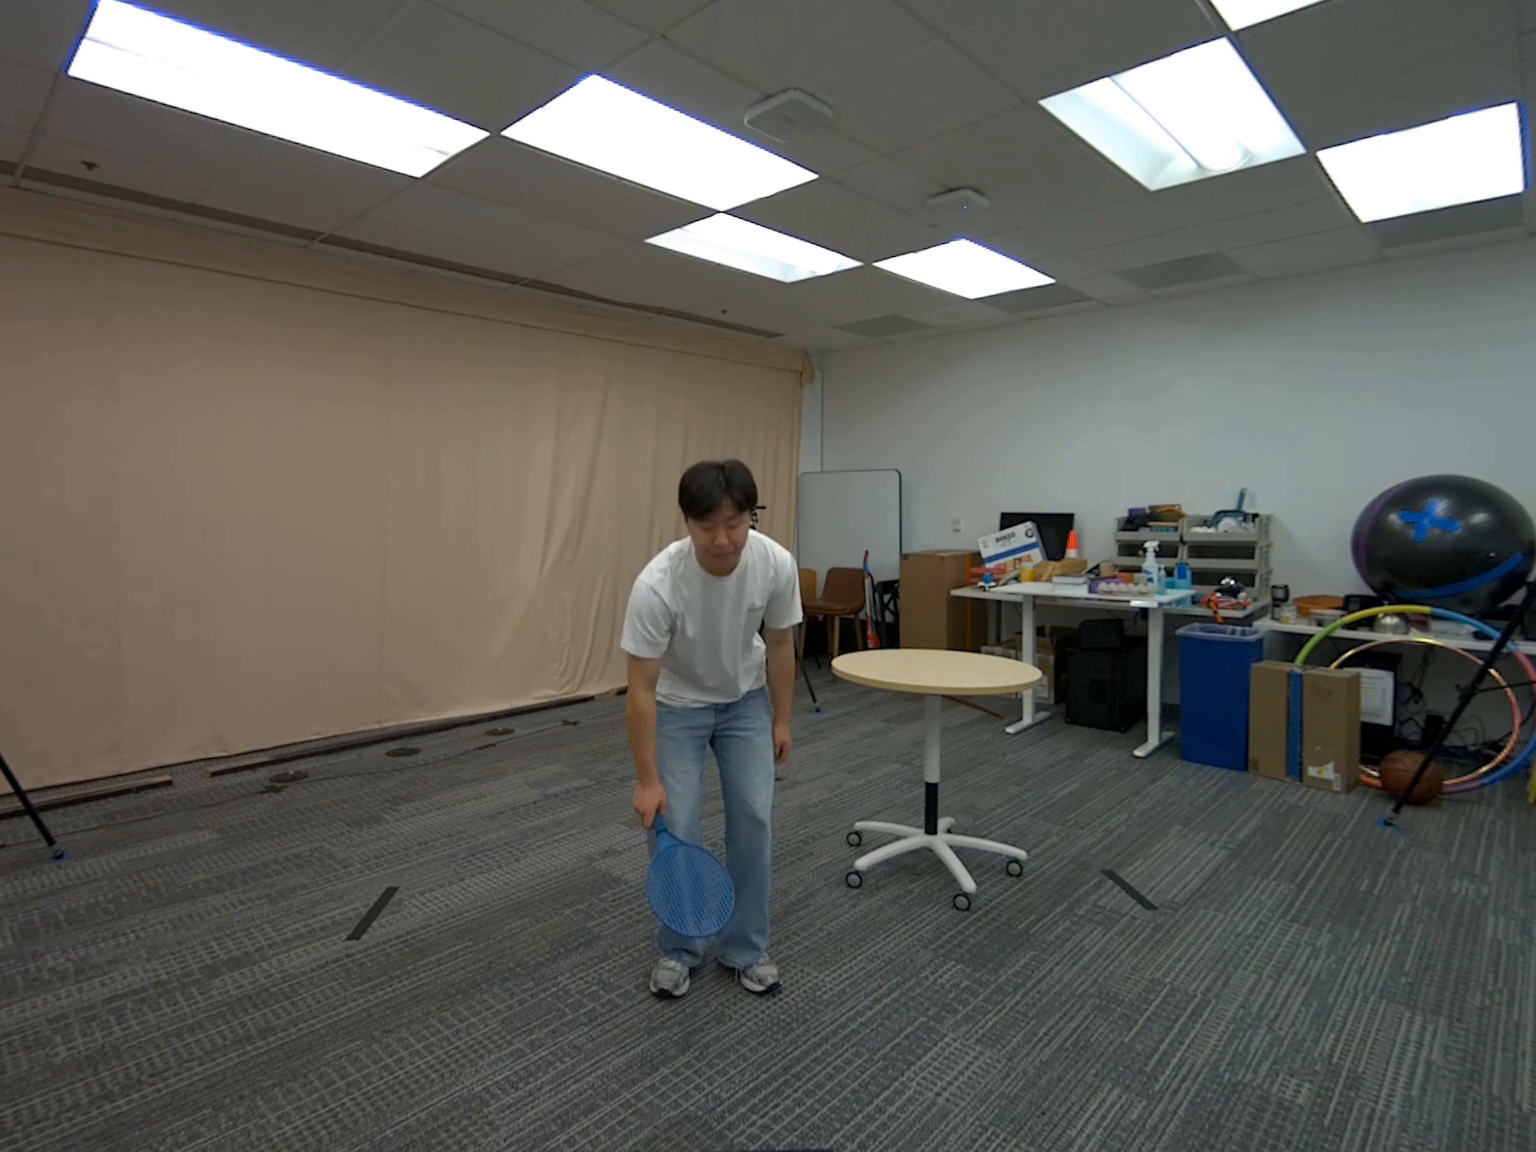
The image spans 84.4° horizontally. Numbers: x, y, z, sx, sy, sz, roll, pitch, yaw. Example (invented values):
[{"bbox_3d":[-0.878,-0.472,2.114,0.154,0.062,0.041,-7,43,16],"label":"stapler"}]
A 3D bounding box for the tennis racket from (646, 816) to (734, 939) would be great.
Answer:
[{"bbox_3d":[-0.214,0.757,2.188,0.209,0.031,0.448,-17,42,-28],"label":"tennis racket"}]
